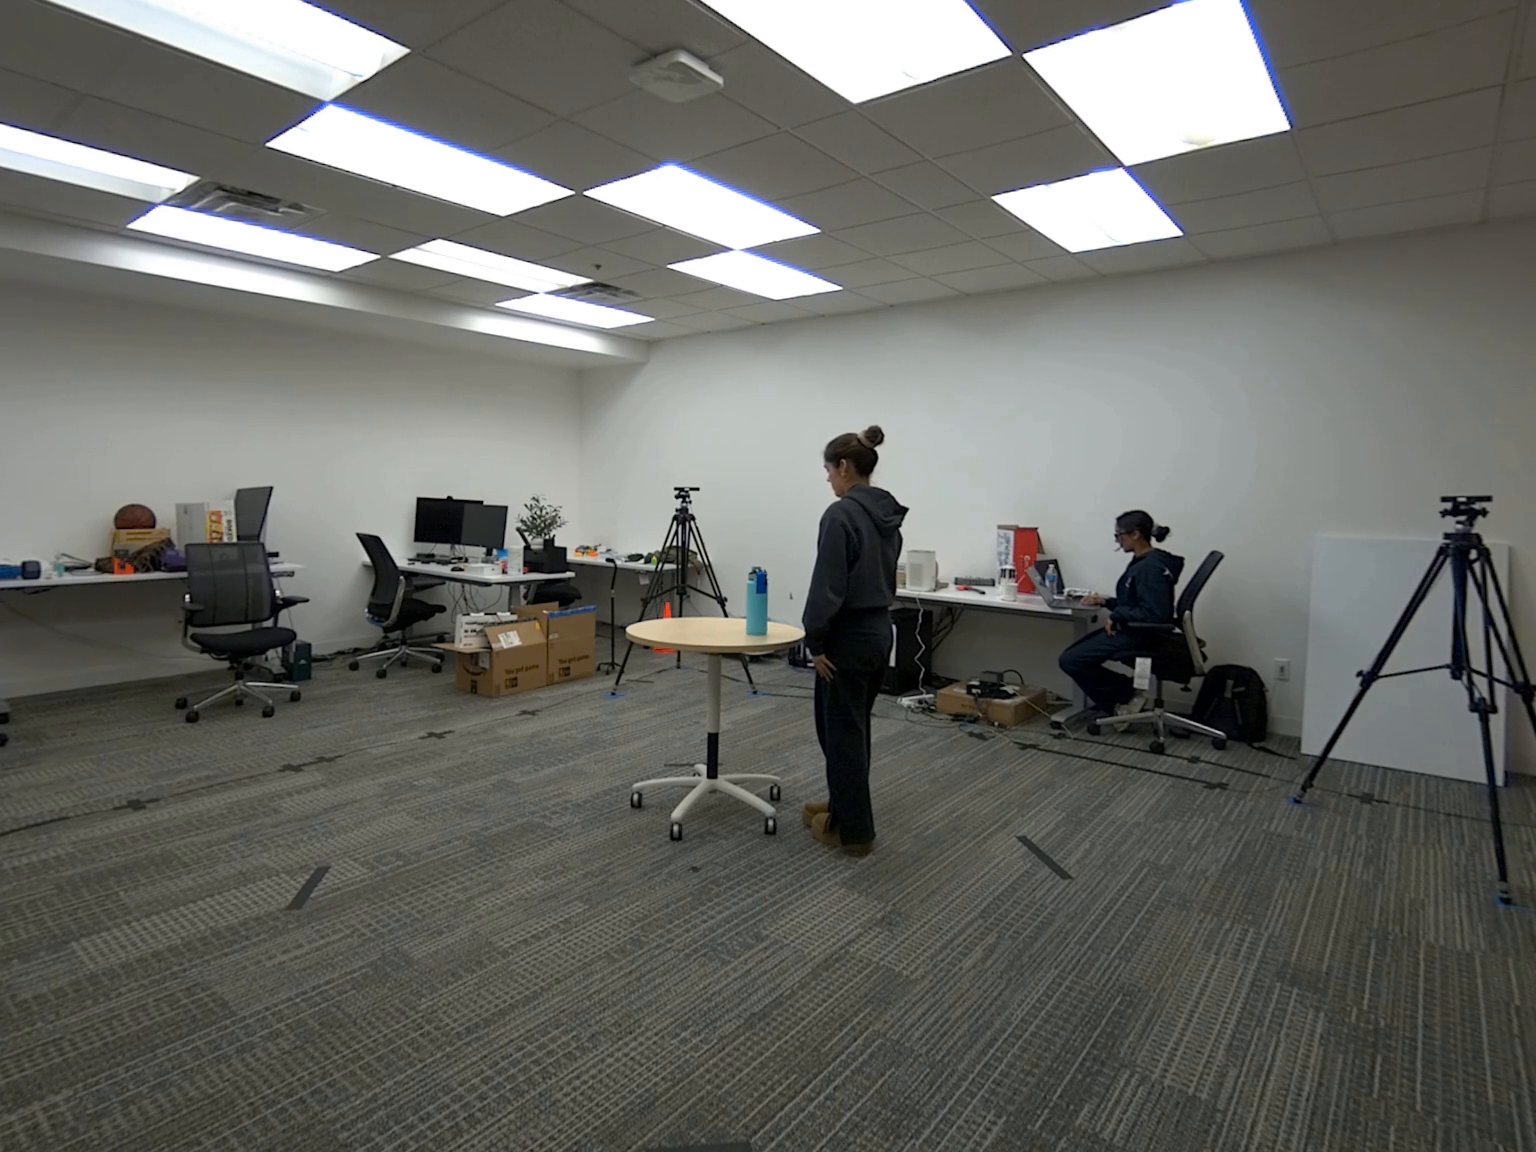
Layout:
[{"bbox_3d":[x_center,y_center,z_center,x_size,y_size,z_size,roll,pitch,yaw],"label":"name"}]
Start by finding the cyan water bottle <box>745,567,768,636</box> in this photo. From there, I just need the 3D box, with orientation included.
[{"bbox_3d":[-0.045,0.102,3.578,0.092,0.282,0.093,3,4,-2],"label":"cyan water bottle"}]
